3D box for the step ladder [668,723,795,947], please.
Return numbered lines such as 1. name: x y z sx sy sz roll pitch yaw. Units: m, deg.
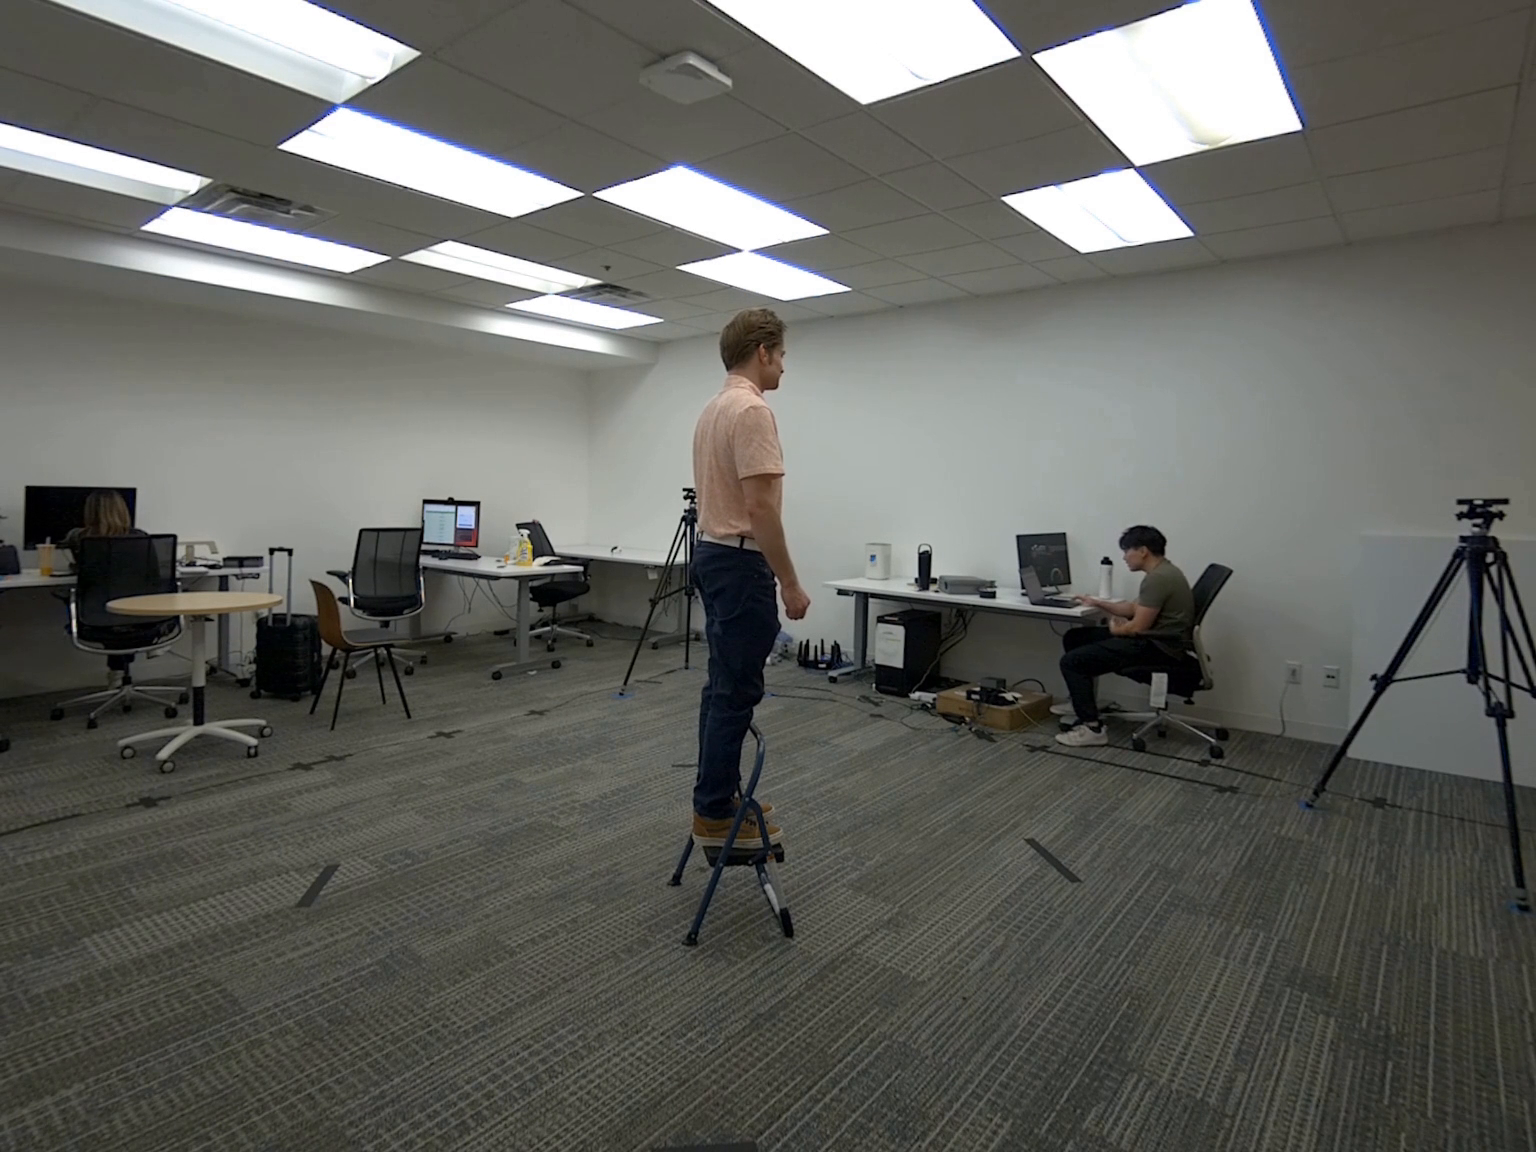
1. step ladder: -0.129 0.803 2.802 0.345 0.604 0.437 0 4 -12
